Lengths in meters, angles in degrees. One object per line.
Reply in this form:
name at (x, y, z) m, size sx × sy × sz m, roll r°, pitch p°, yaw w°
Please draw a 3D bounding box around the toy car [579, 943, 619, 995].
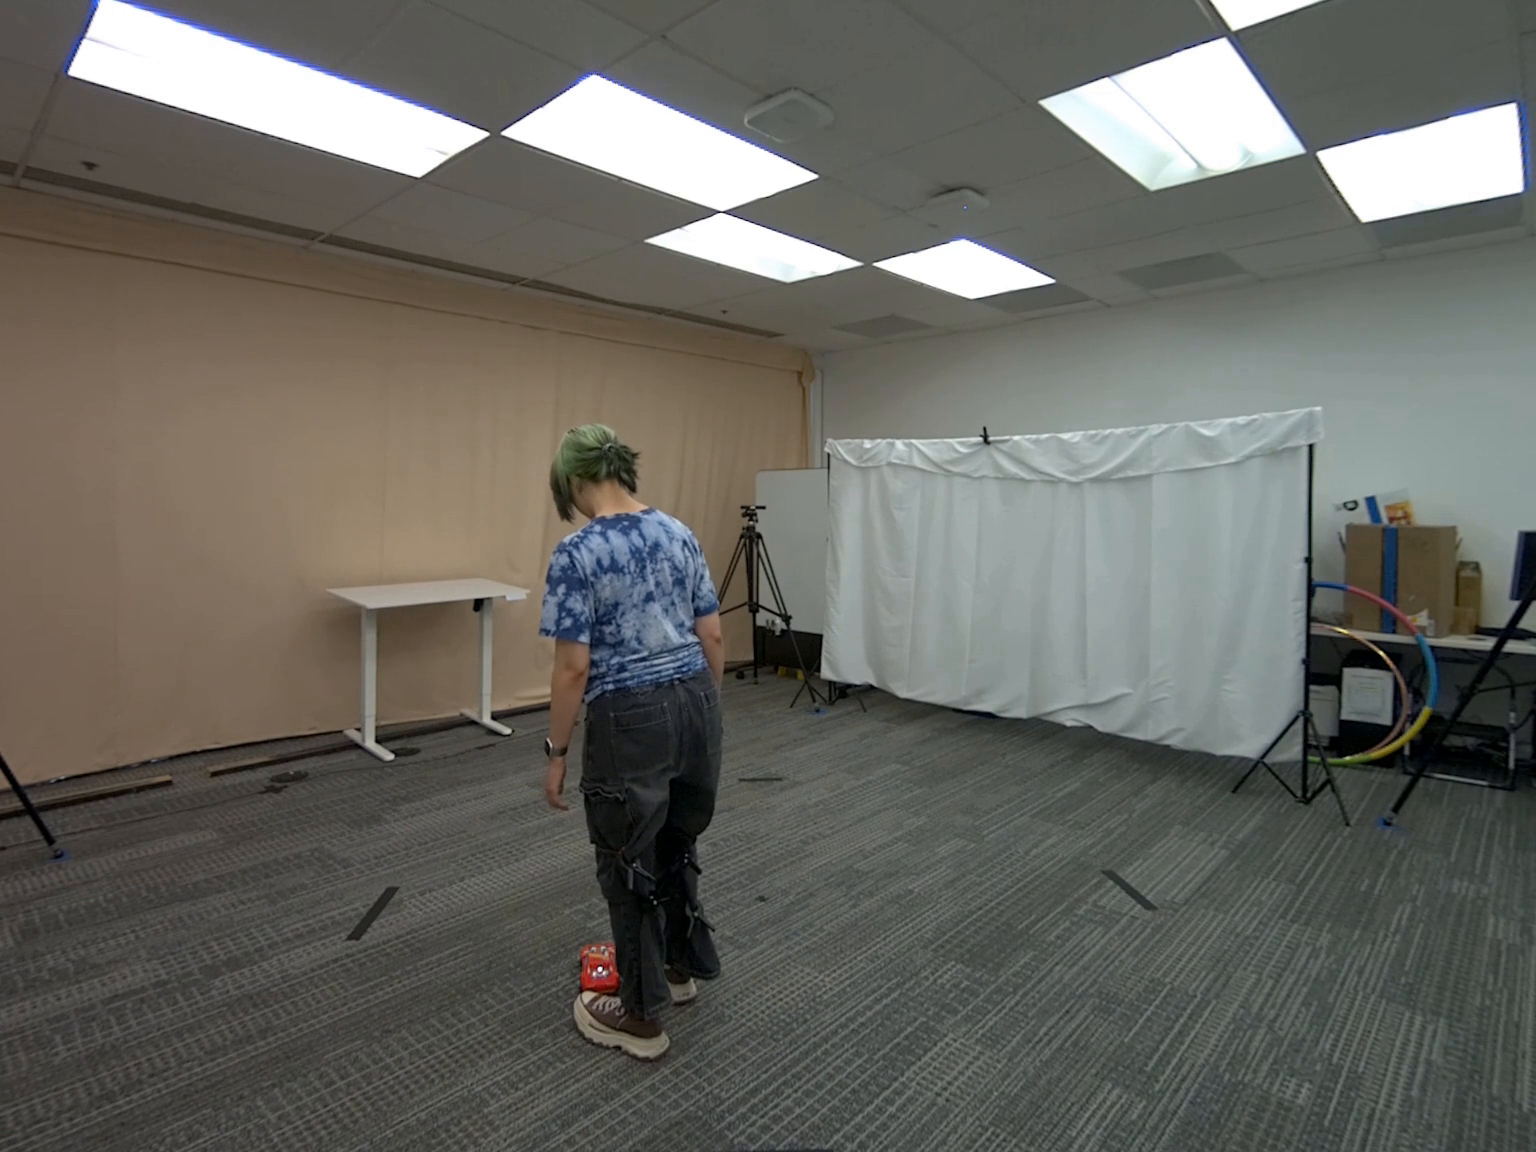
toy car at (-0.494, 1.160, 2.464) m, size 0.129 × 0.083 × 0.255 m, roll -2°, pitch -6°, yaw -9°
